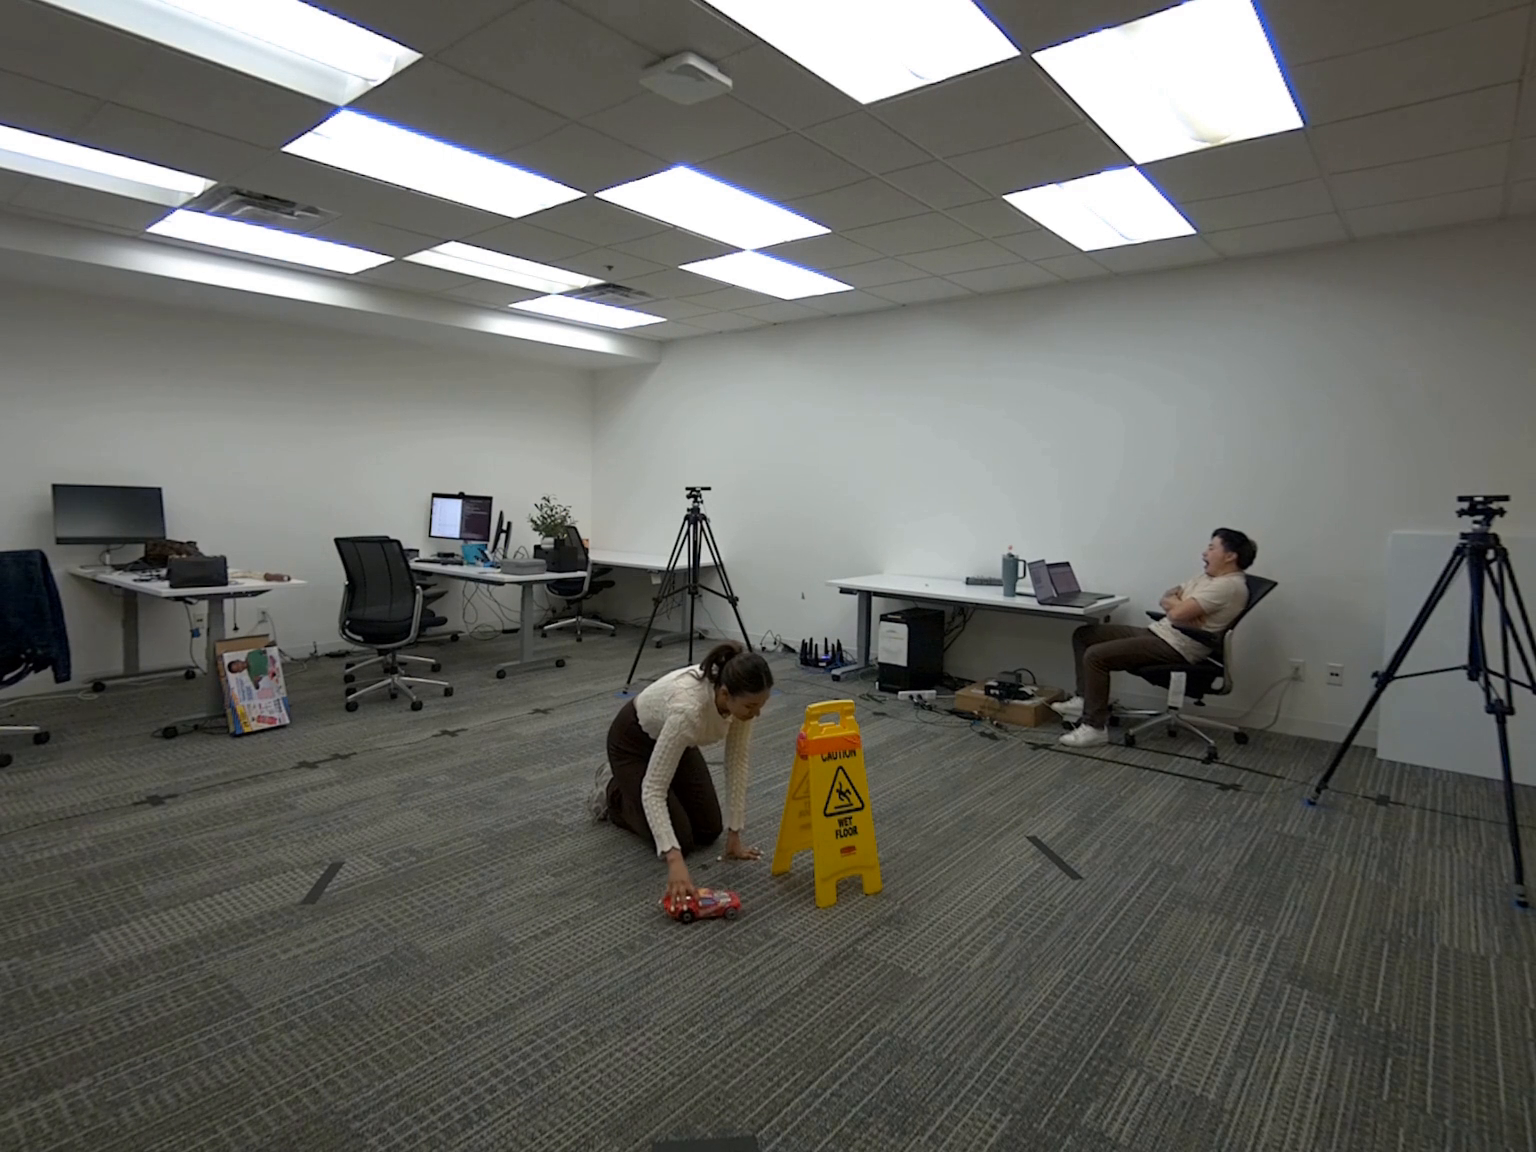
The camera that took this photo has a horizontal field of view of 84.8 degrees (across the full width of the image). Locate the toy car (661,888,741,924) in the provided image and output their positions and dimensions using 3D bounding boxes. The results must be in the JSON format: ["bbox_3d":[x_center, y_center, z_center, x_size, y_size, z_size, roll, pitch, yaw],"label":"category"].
[{"bbox_3d":[-0.210,1.072,2.771,0.251,0.083,0.132,10,2,-13],"label":"toy car"}]
